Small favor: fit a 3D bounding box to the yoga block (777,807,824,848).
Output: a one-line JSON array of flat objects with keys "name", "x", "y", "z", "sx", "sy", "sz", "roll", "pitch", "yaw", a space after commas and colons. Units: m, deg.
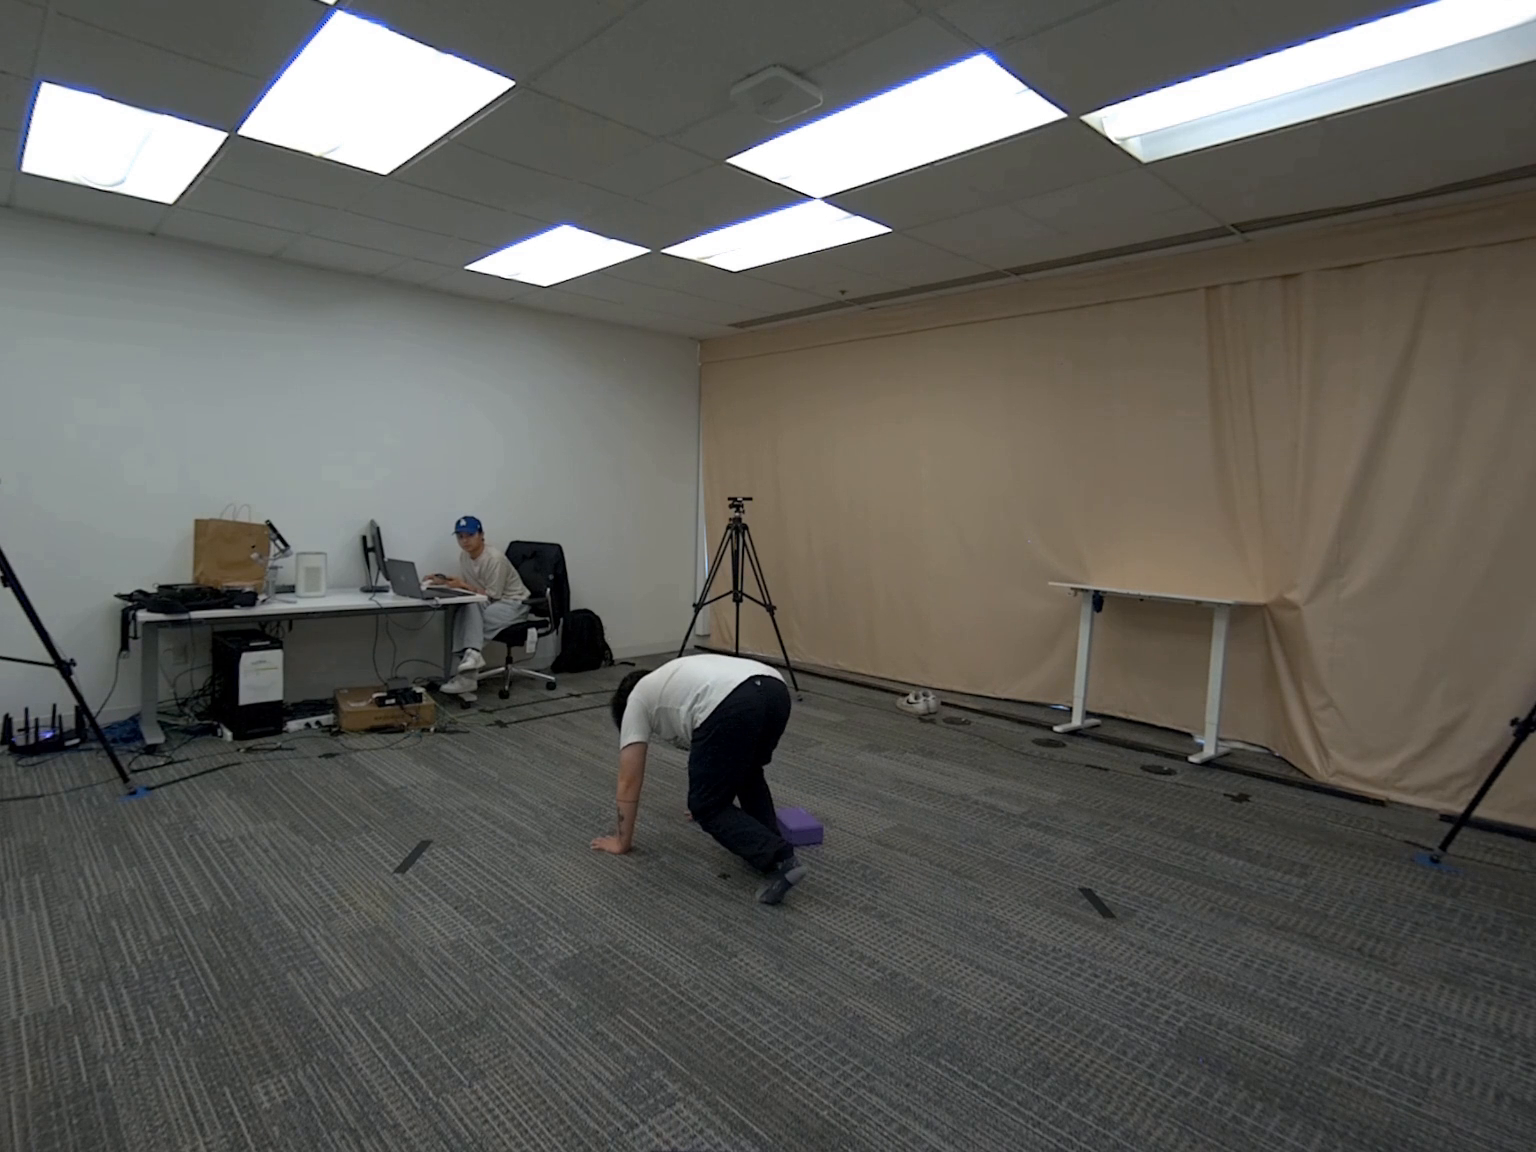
[{"name": "yoga block", "x": 0.110, "y": 1.037, "z": 3.501, "sx": 0.147, "sy": 0.076, "sz": 0.233, "roll": 0, "pitch": 5, "yaw": -18}]
